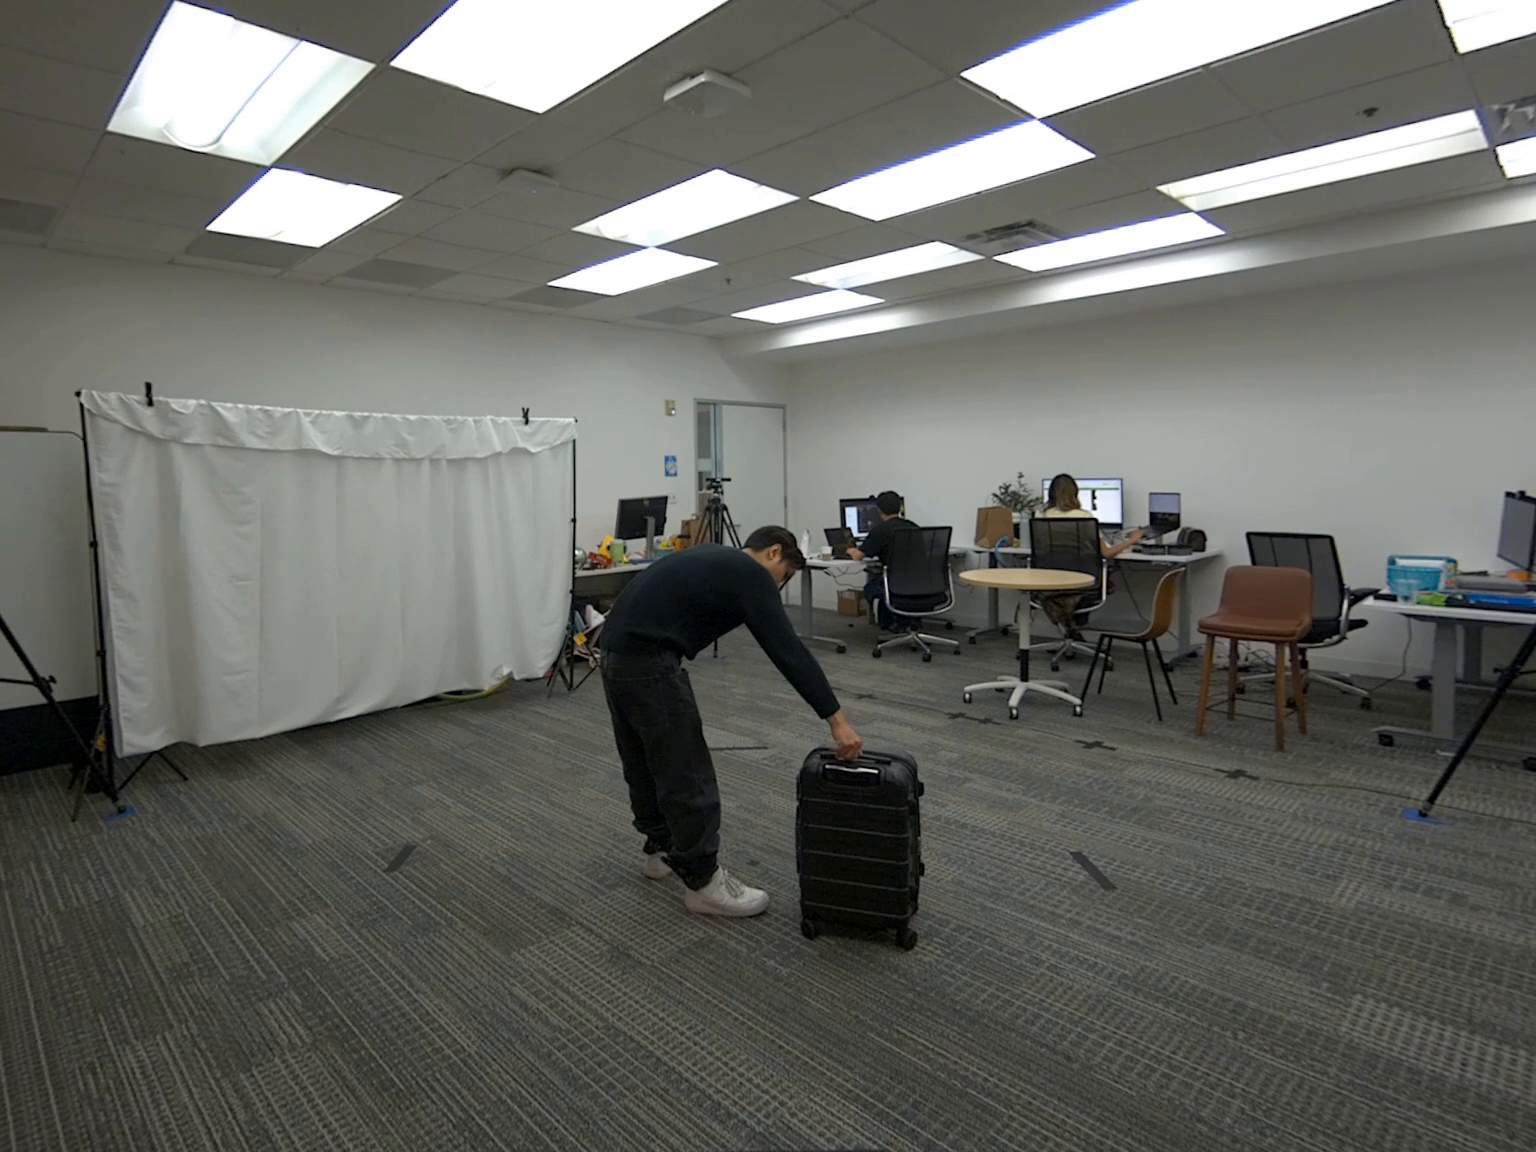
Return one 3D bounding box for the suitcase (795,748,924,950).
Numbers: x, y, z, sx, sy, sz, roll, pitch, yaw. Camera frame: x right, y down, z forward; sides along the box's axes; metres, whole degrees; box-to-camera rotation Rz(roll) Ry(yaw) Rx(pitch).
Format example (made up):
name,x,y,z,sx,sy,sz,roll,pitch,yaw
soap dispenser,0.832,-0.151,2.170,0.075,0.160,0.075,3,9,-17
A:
name,x,y,z,sx,sy,sz,roll,pitch,yaw
suitcase,0.282,0.810,2.656,0.381,0.547,0.245,0,4,16
